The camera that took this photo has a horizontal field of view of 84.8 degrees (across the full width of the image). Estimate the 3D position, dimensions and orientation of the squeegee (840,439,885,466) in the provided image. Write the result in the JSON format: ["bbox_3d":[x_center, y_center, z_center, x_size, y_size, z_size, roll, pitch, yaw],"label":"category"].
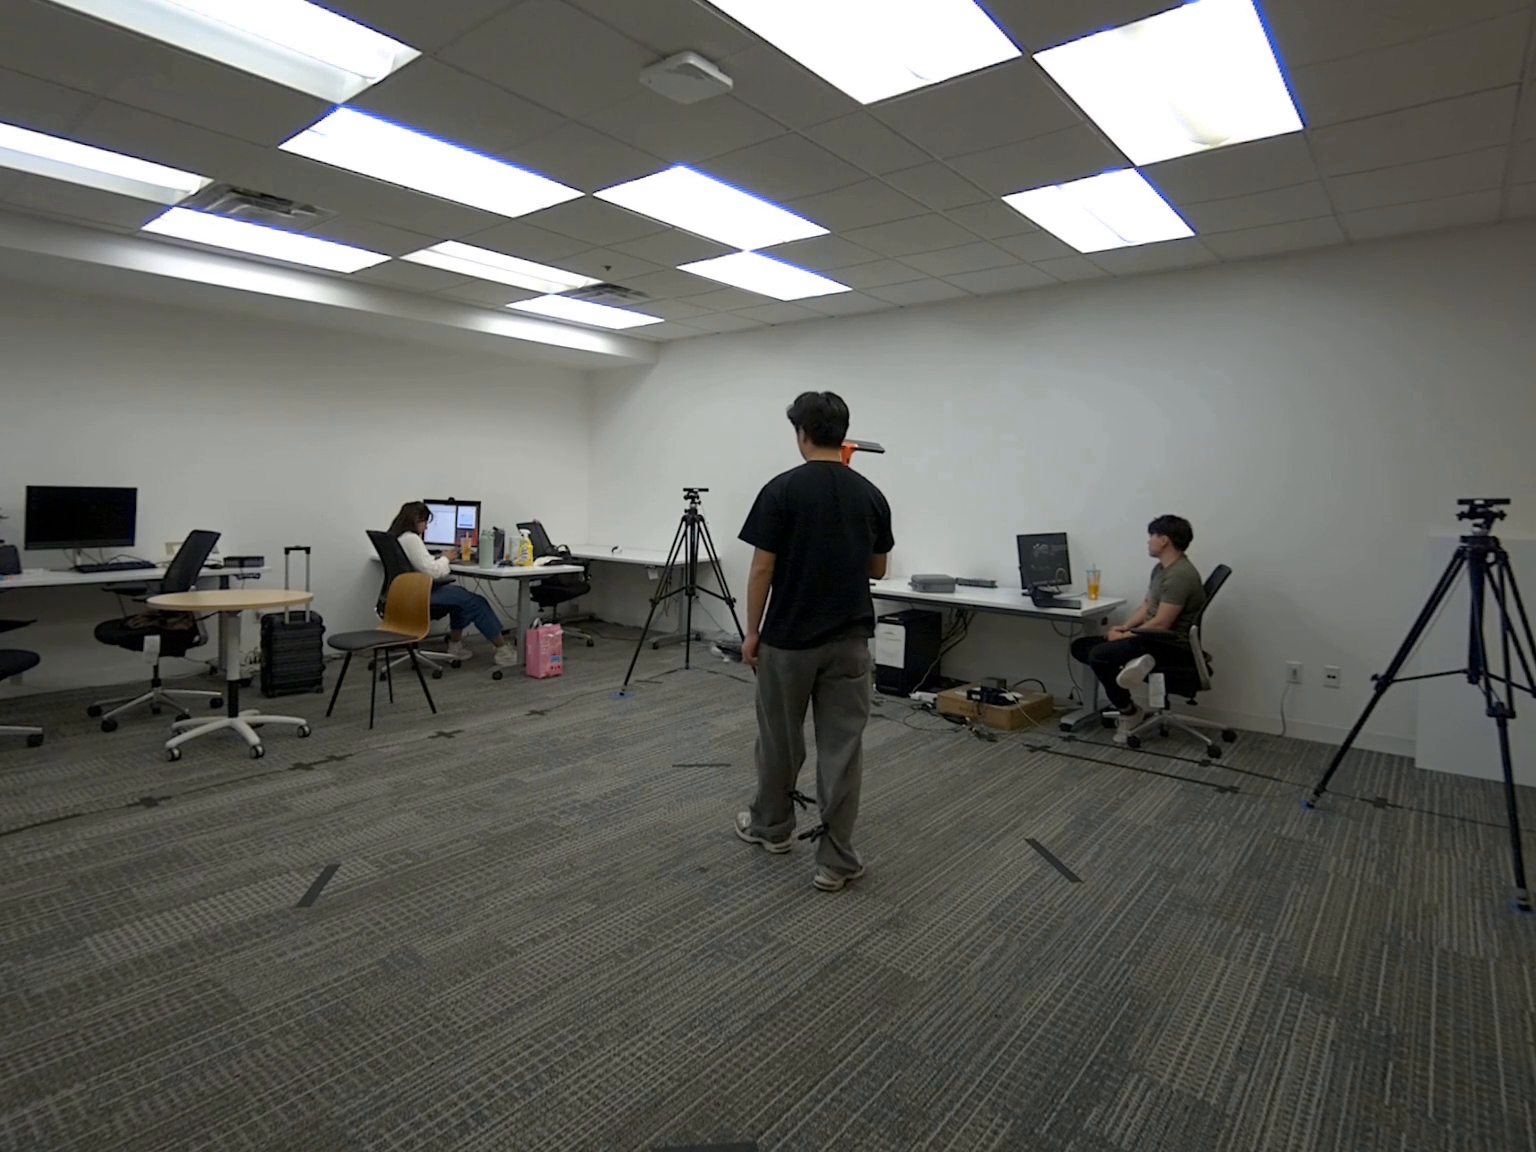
[{"bbox_3d":[0.267,0.201,3.485,0.425,1.538,0.054,3,-1,-30],"label":"squeegee"}]
